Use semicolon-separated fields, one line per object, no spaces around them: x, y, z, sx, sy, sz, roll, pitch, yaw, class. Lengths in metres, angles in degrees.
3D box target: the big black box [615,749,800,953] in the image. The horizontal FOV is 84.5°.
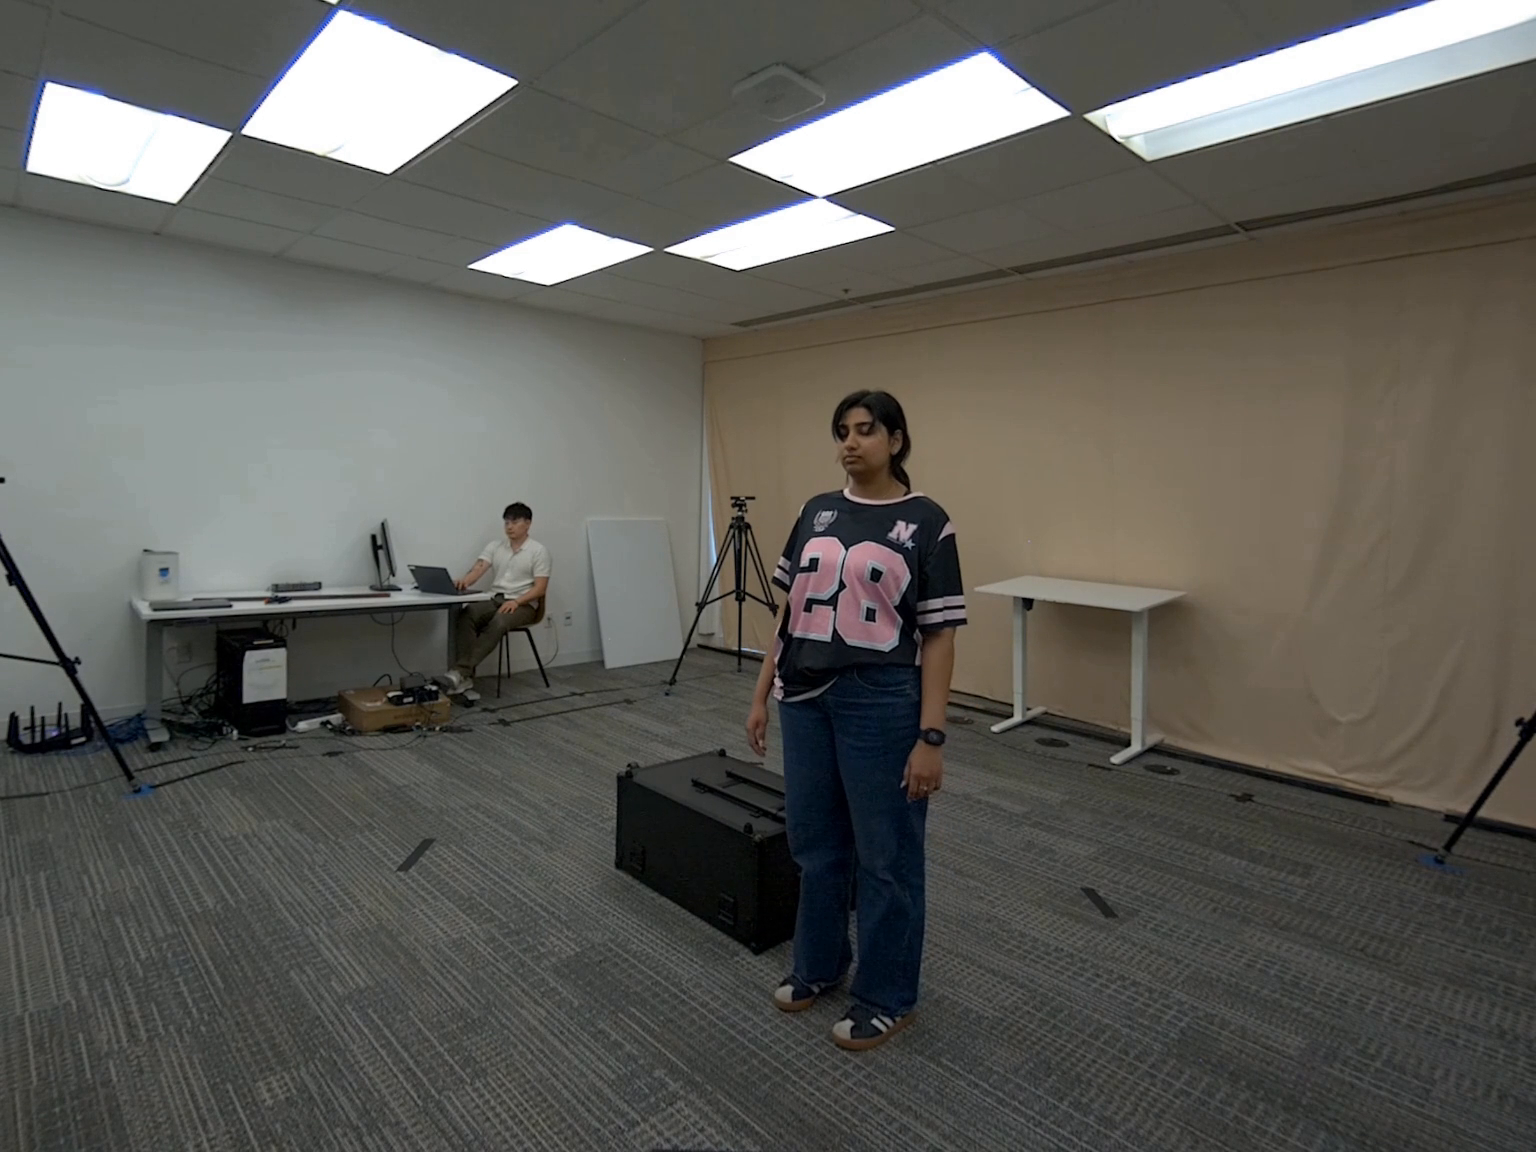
-0.161;0.928;3.021;0.512;0.384;0.891;-4;7;-42;big black box
